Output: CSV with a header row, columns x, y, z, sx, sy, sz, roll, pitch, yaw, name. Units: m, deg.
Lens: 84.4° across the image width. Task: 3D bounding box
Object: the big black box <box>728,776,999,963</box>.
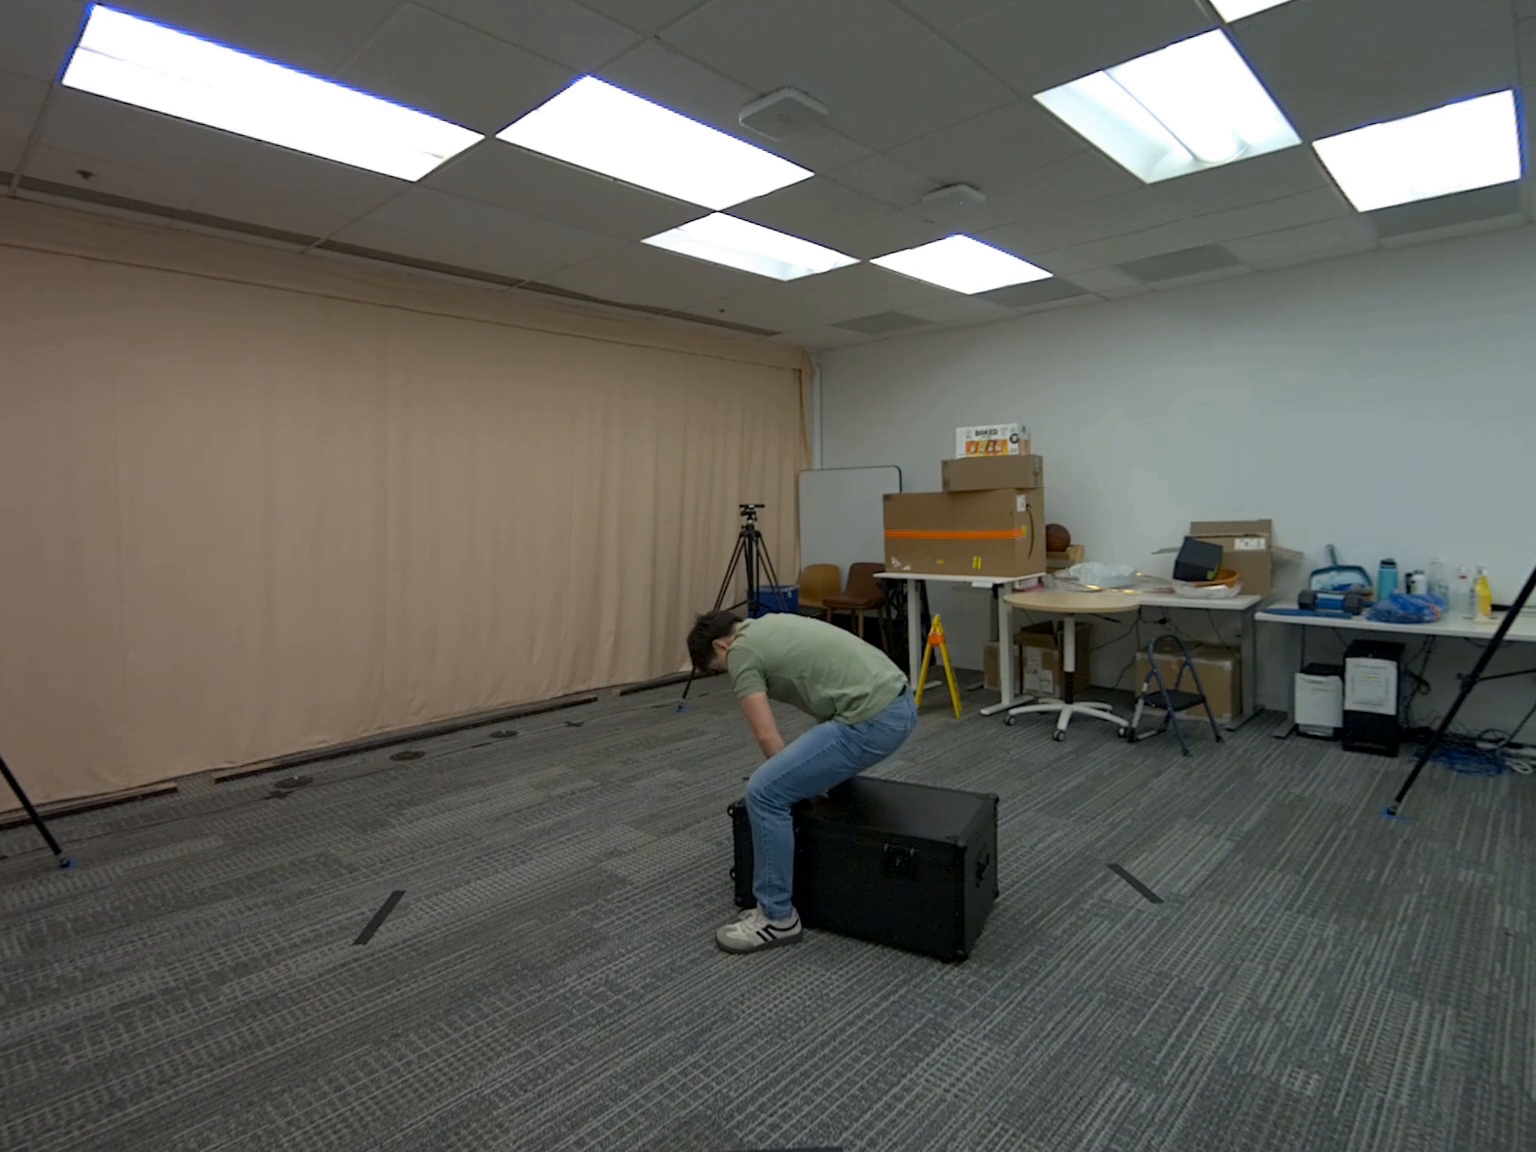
x,y,z,sx,sy,sz,roll,pitch,yaw,name
0.316,0.948,2.902,0.885,0.395,0.508,2,5,28,big black box
